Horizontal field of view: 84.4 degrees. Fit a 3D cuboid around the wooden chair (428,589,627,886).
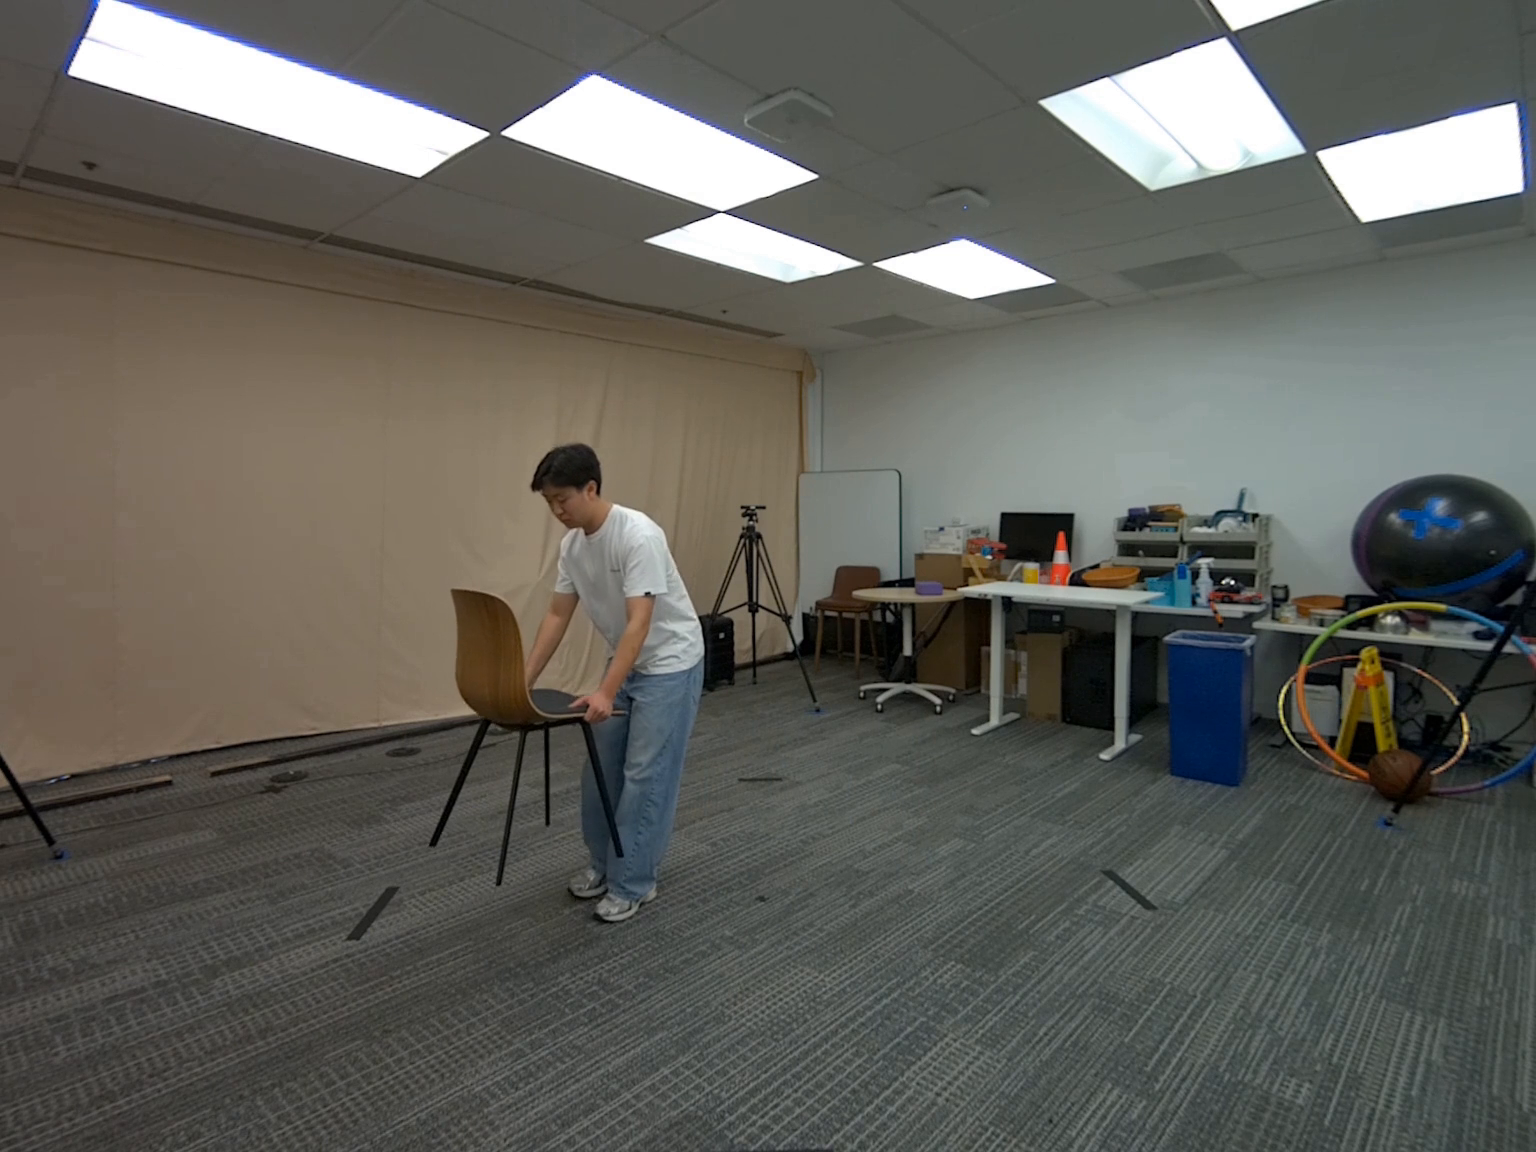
[{"bbox_3d":[-0.738,0.473,2.750,0.506,0.877,0.493,0,0,-45],"label":"wooden chair"}]
